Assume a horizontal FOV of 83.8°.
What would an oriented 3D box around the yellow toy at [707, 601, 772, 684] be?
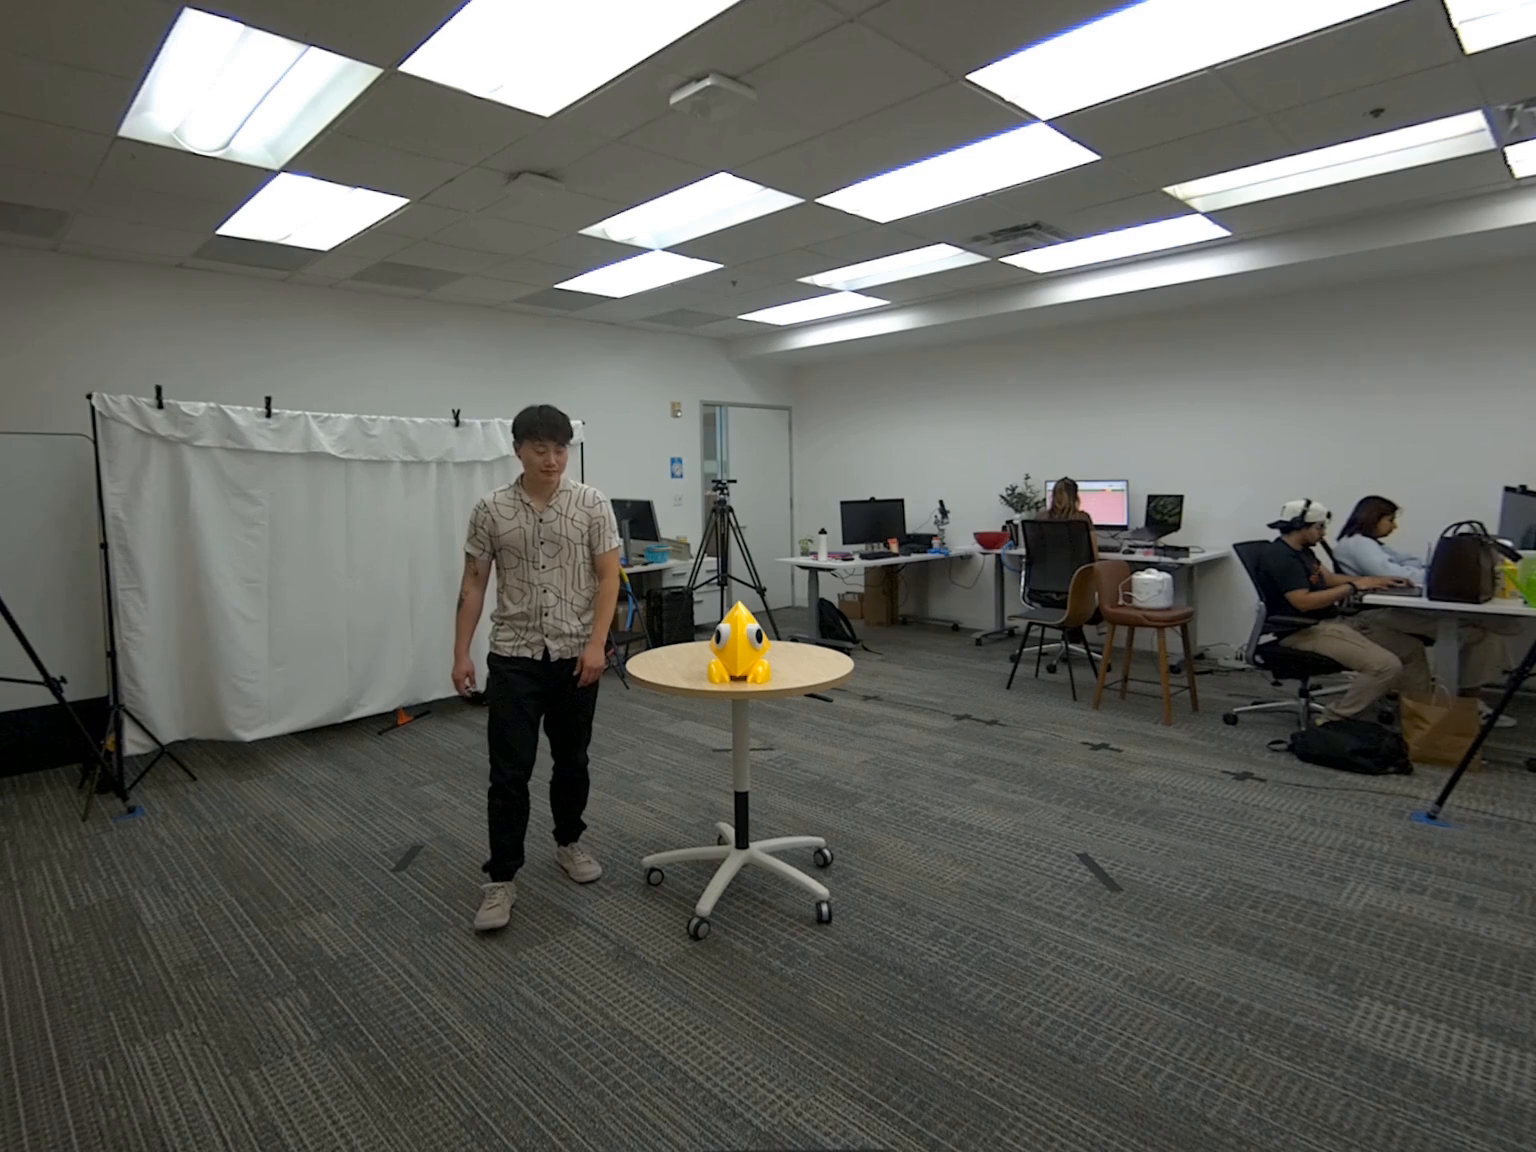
[{"bbox_3d":[-0.089,0.199,2.670,0.205,0.230,0.193,-1,3,2],"label":"yellow toy"}]
